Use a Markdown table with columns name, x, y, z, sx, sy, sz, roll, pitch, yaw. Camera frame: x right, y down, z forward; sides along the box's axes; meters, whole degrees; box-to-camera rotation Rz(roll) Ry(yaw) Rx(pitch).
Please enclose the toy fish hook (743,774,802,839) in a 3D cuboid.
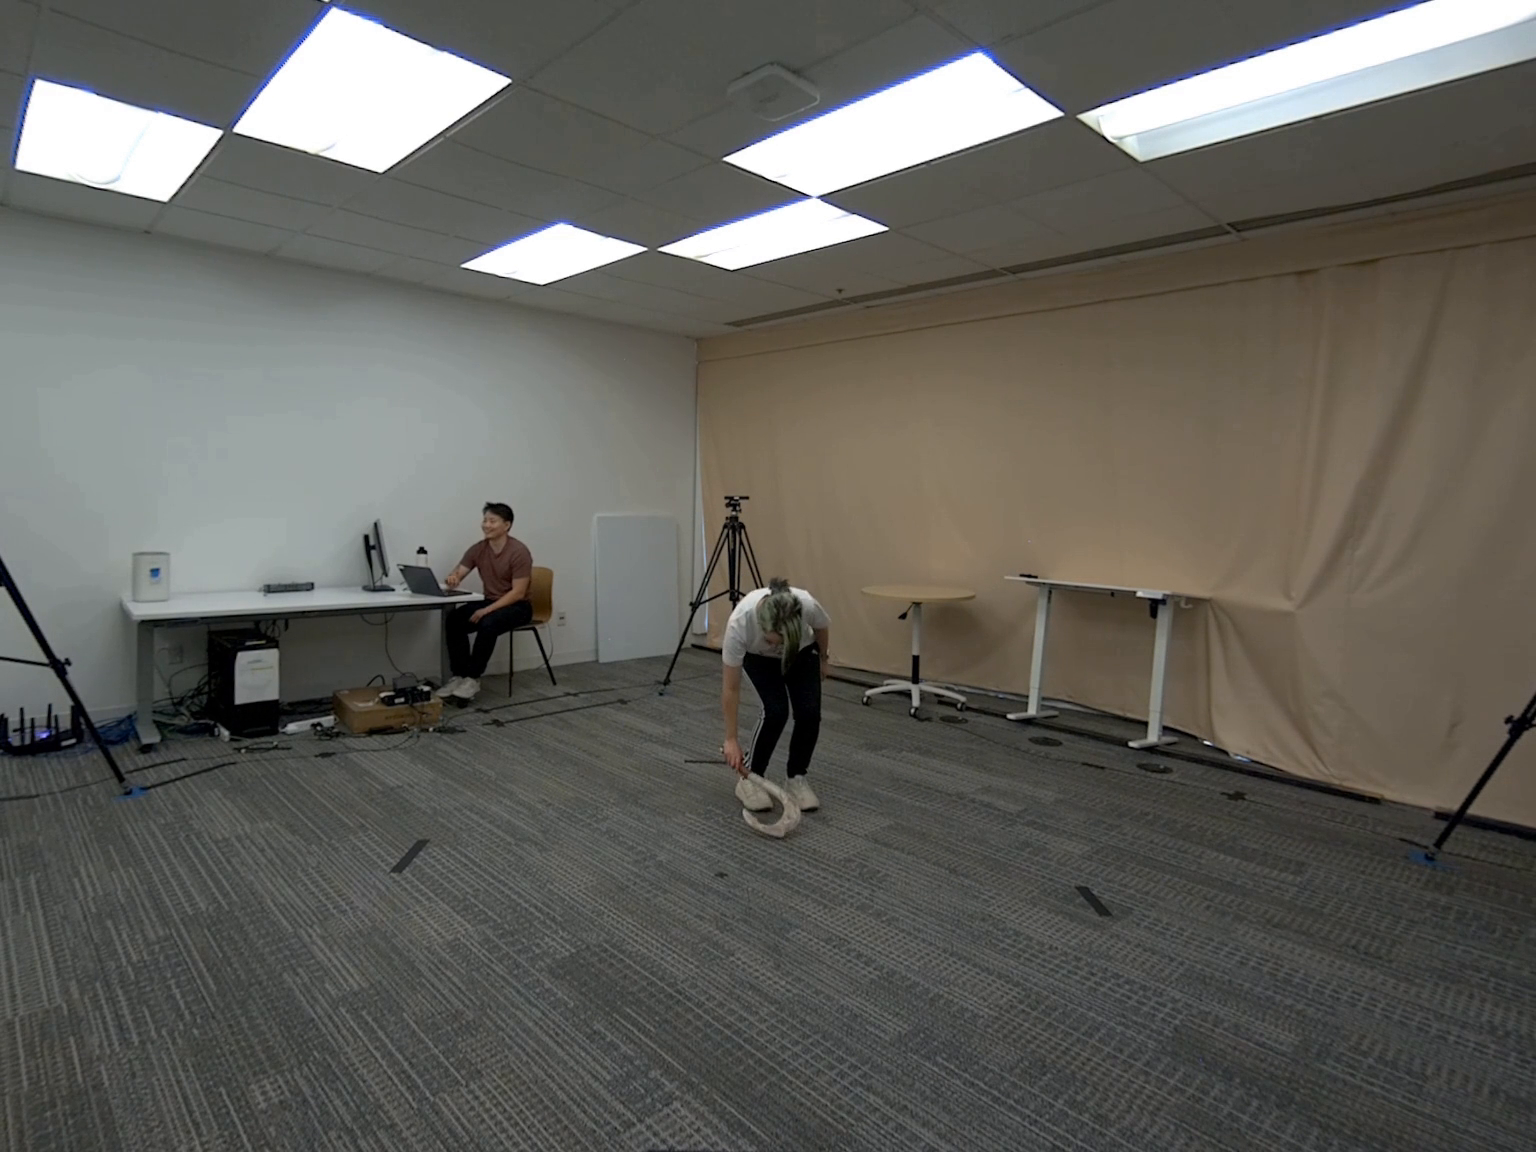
| name | x | y | z | sx | sy | sz | roll | pitch | yaw |
| --- | --- | --- | --- | --- | --- | --- | --- | --- | --- |
| toy fish hook | -0.081 | 0.905 | 3.599 | 0.222 | 0.047 | 0.522 | -24 | 45 | -34 |
